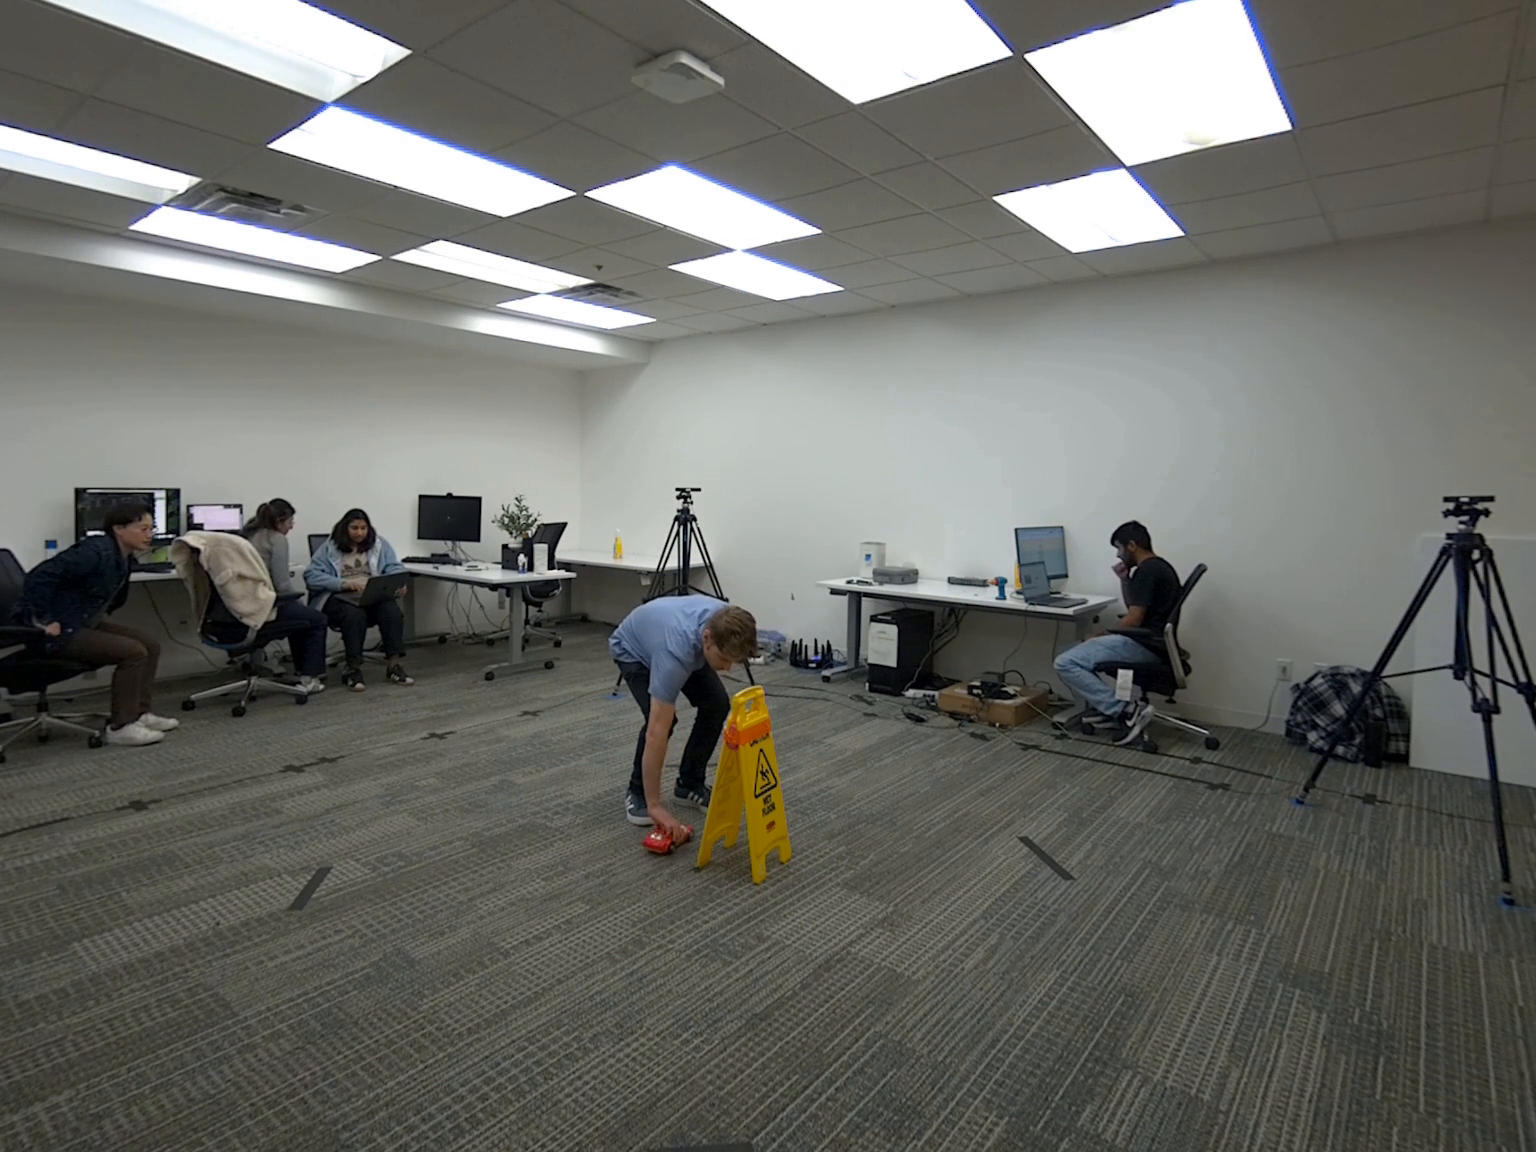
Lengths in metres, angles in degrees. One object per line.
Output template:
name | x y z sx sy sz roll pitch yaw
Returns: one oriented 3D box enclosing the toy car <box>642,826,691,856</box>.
toy car | -0.405 1.015 3.303 0.134 0.083 0.246 2 -5 26
